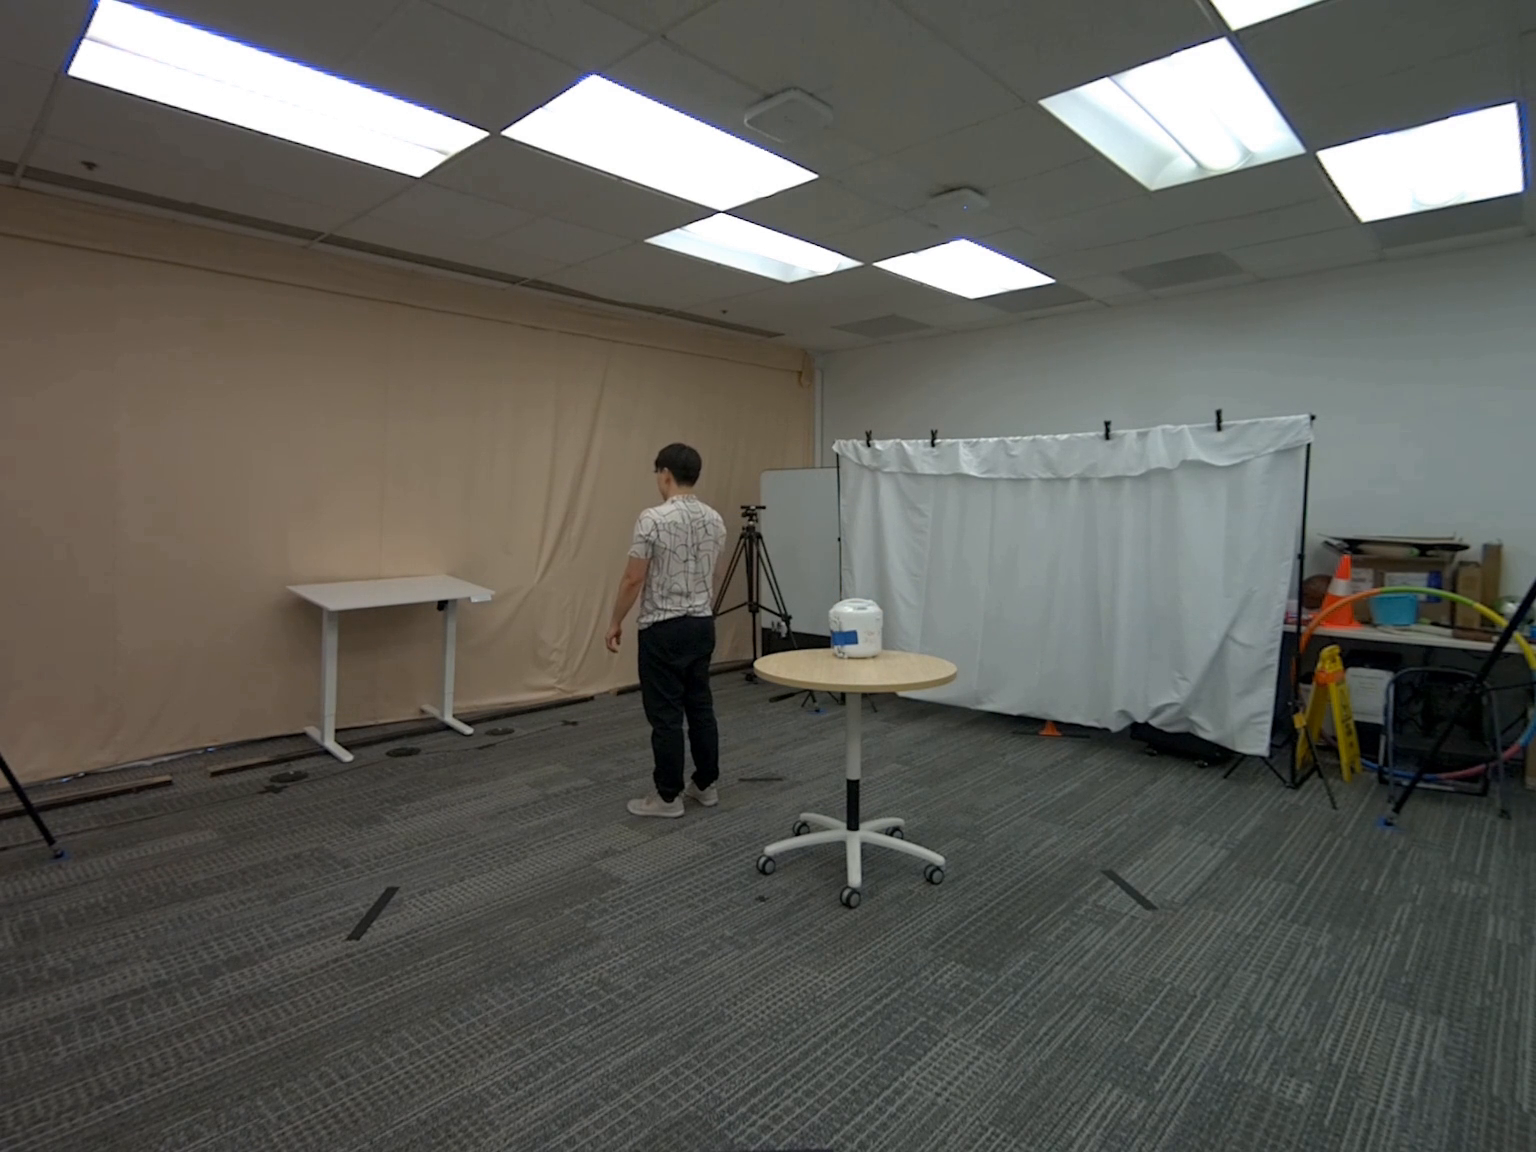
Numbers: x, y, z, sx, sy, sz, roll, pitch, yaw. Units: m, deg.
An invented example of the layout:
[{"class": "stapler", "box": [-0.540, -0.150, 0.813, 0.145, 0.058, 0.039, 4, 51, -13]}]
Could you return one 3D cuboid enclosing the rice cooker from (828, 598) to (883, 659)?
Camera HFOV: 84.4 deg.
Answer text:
[{"class": "rice cooker", "box": [0.361, 0.207, 3.436, 0.221, 0.232, 0.217, 0, 3, 2]}]
